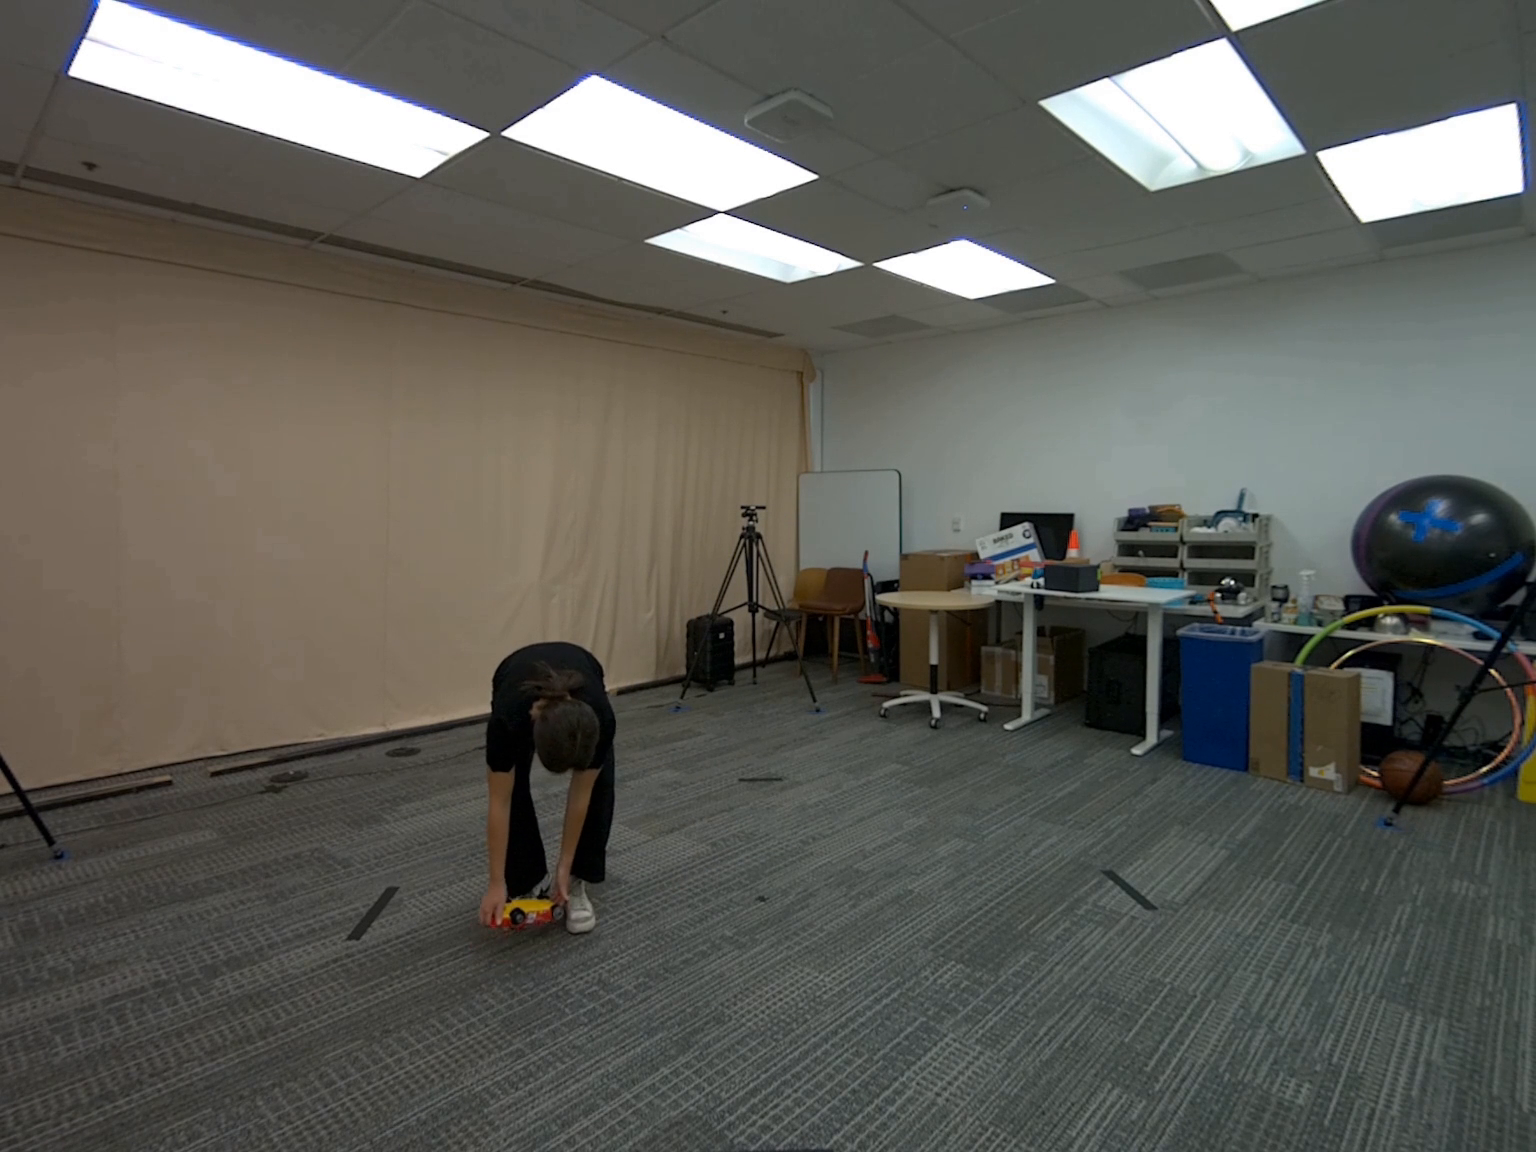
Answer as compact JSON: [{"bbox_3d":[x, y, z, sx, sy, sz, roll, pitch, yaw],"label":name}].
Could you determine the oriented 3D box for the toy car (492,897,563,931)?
[{"bbox_3d":[-0.775,1.060,2.681,0.246,0.083,0.135,-1,6,-44],"label":"toy car"}]
